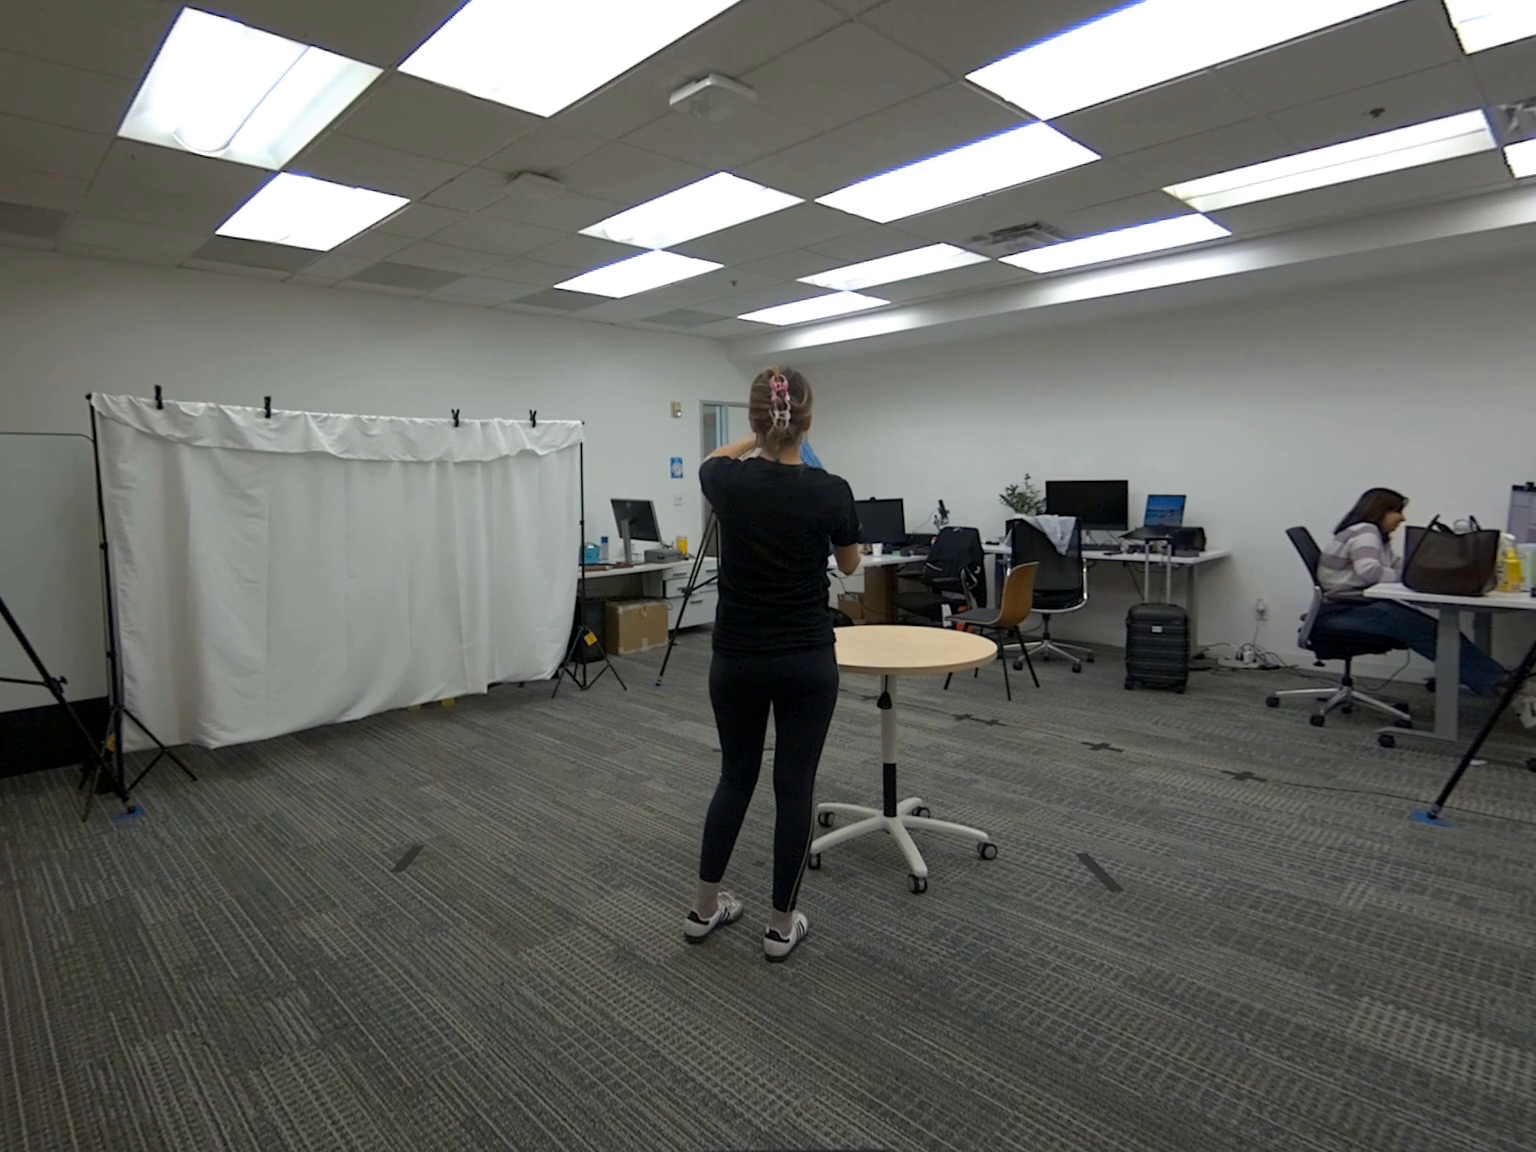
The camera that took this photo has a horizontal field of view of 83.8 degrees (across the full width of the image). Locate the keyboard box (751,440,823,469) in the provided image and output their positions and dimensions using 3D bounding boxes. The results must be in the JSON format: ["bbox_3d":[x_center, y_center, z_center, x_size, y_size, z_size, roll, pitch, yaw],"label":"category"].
[{"bbox_3d":[0.155,-0.289,3.003,0.176,0.436,0.059,-30,2,0],"label":"keyboard box"}]
